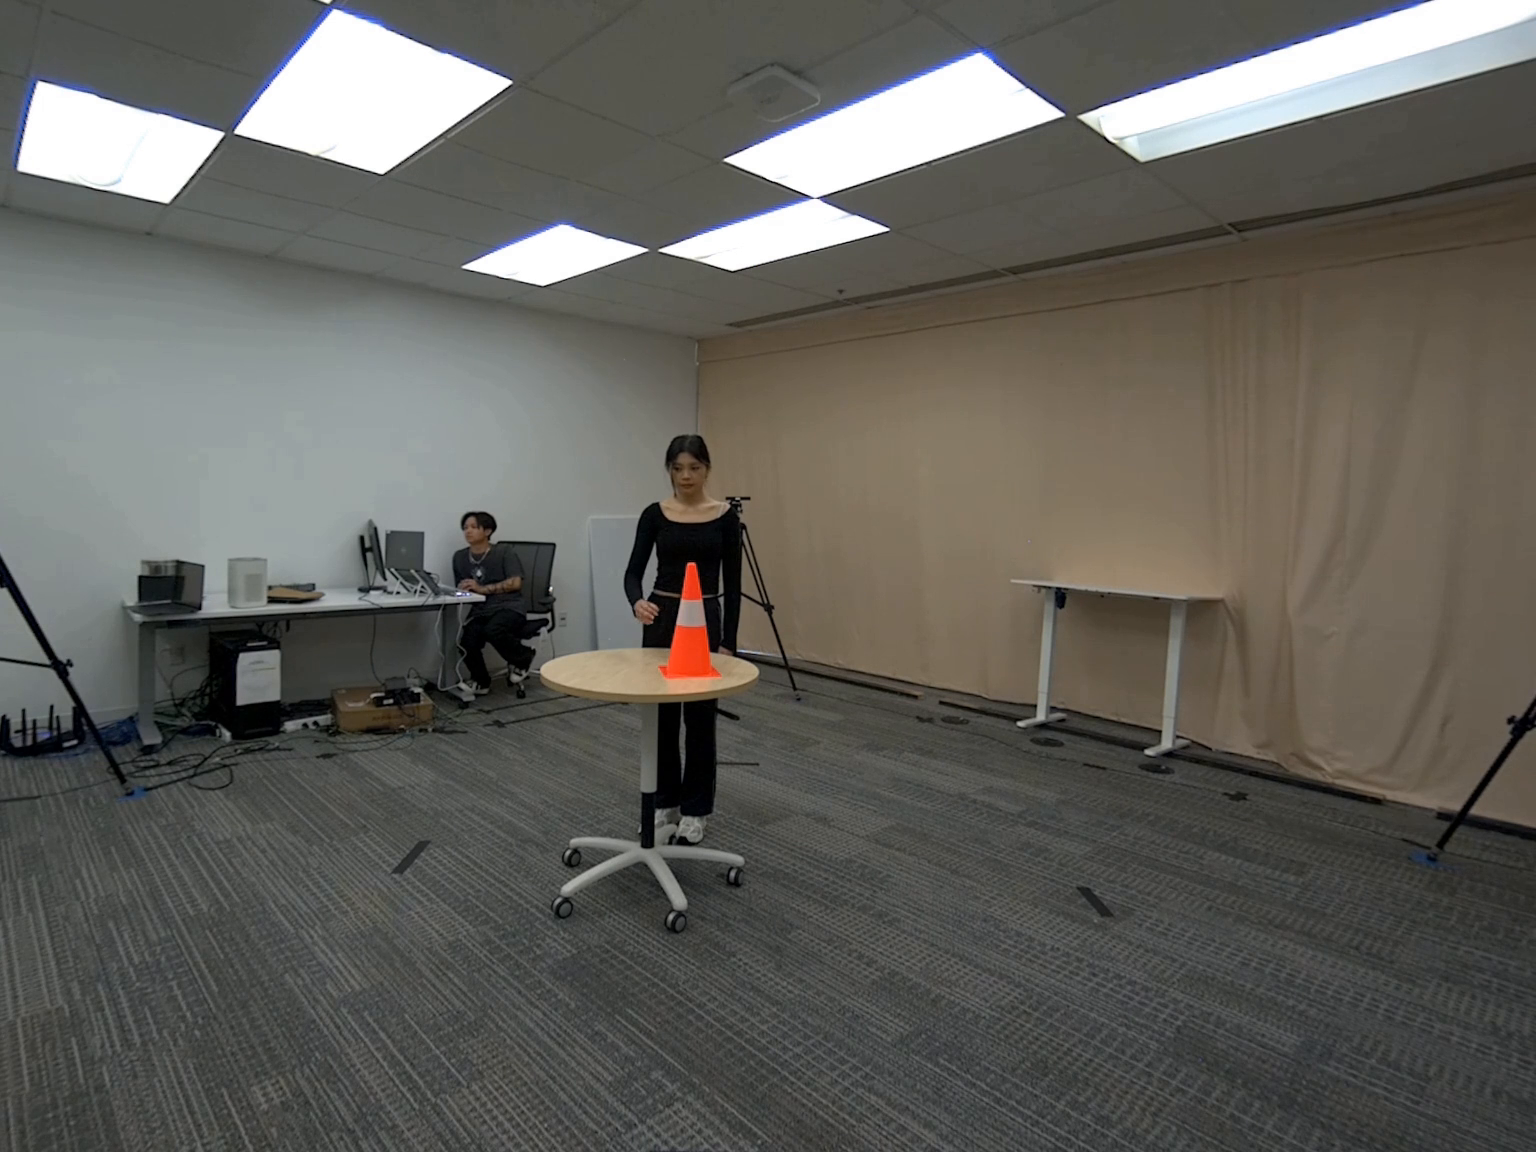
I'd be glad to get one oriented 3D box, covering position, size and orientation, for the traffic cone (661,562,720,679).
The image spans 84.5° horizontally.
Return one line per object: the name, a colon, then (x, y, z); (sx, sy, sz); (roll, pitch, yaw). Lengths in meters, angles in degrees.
traffic cone: (-0.289, 0.150, 2.929); (0.203, 0.382, 0.206); (0, 5, -12)
